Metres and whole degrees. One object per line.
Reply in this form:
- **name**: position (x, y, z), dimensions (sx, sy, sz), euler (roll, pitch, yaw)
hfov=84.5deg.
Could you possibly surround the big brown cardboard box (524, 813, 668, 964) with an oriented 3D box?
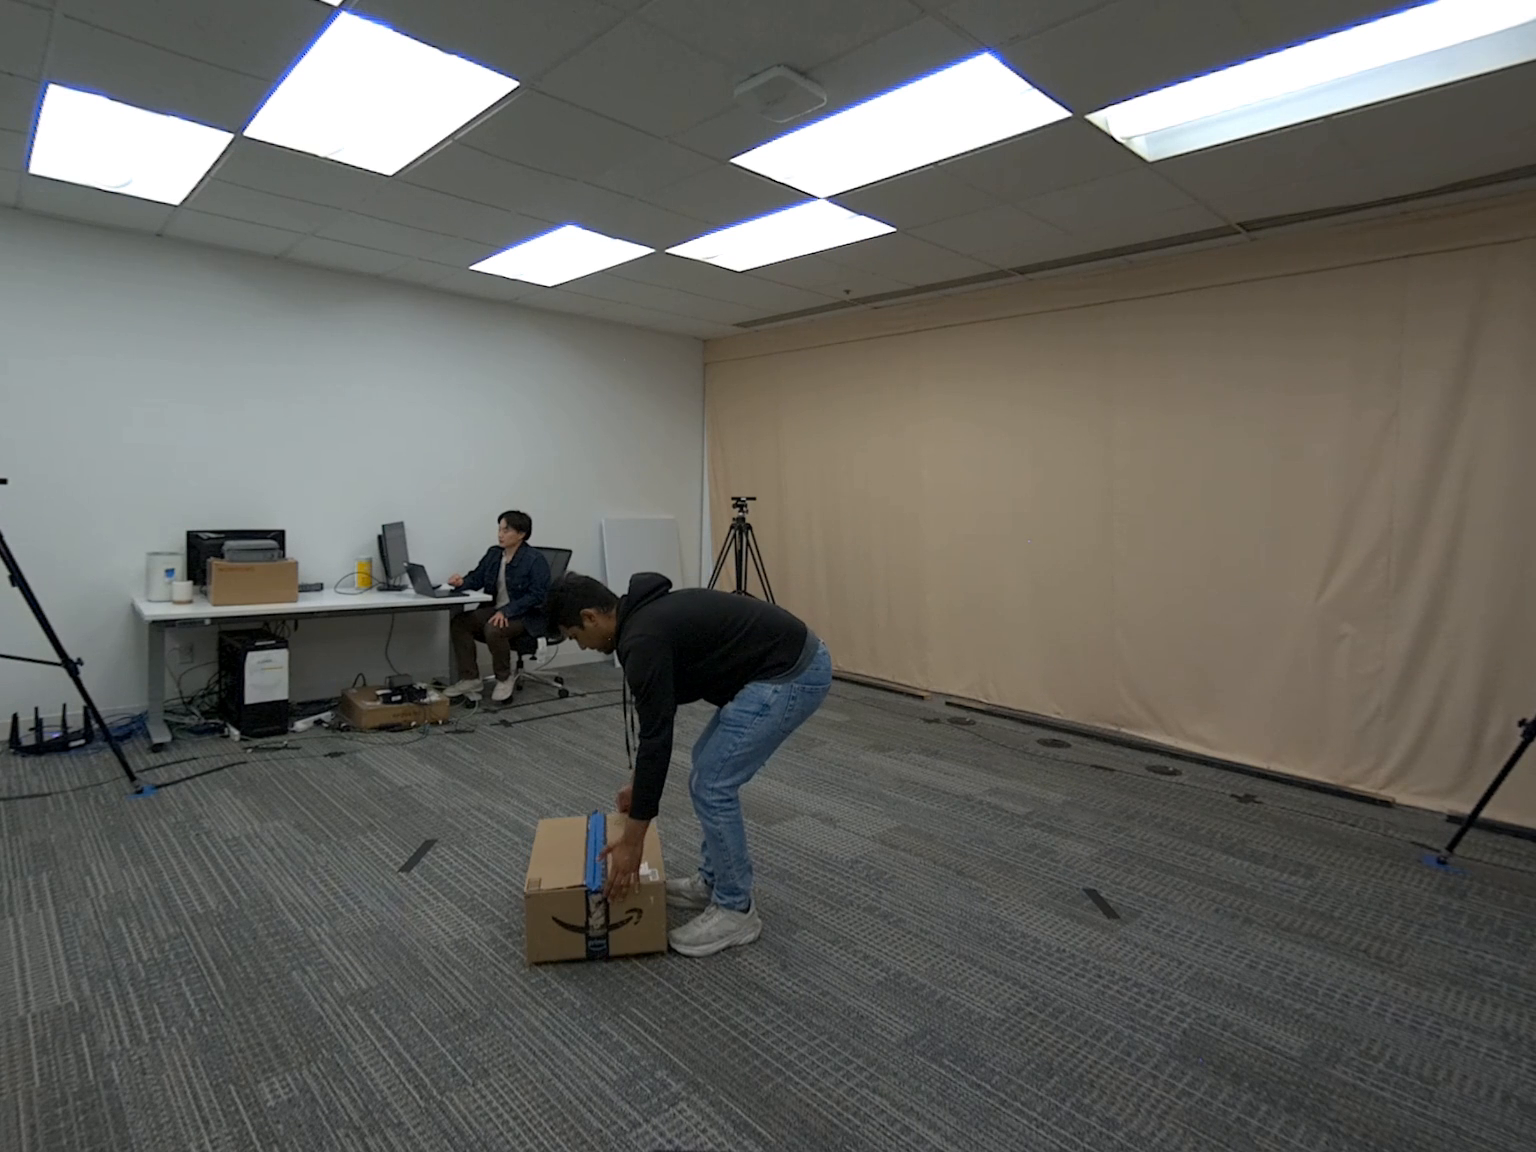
- **big brown cardboard box**: position (-0.565, 0.975, 2.762), dimensions (0.414, 0.232, 0.595), euler (-1, 5, -11)
